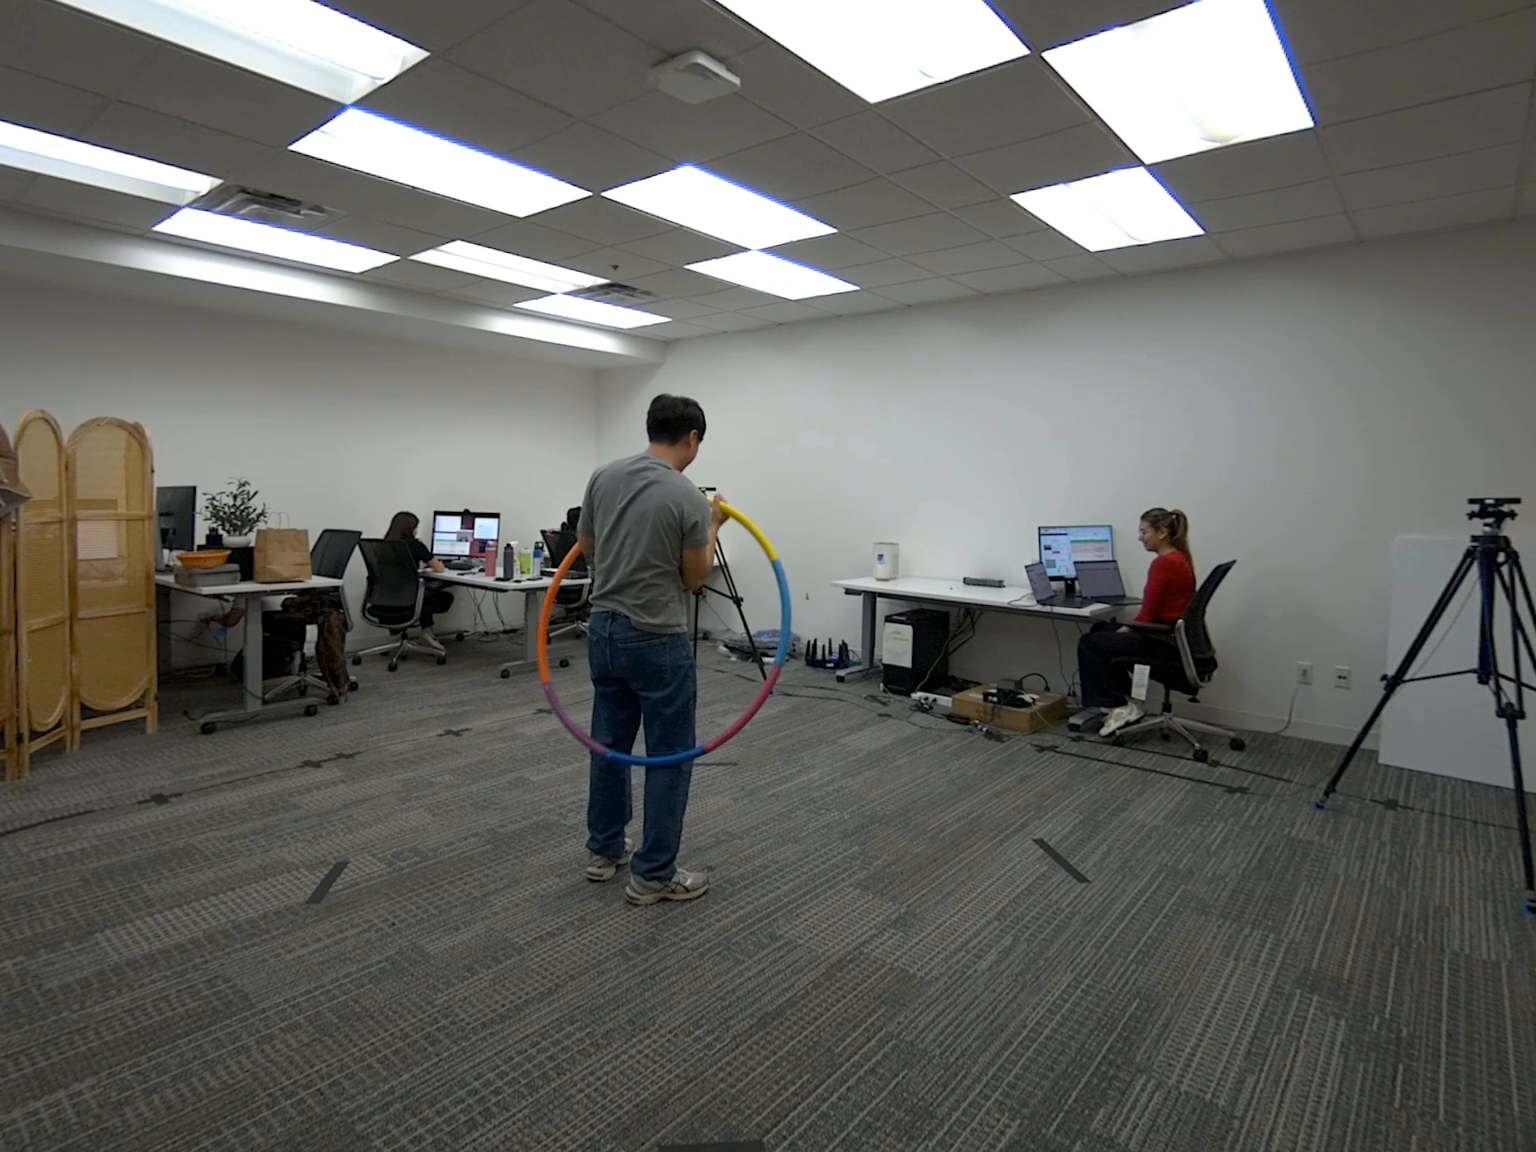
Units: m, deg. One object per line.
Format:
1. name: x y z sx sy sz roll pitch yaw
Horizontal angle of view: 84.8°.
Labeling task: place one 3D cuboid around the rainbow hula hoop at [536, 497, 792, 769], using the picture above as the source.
1. rainbow hula hoop: -0.412 0.170 3.031 1.000 0.992 0.034 2 -19 21
